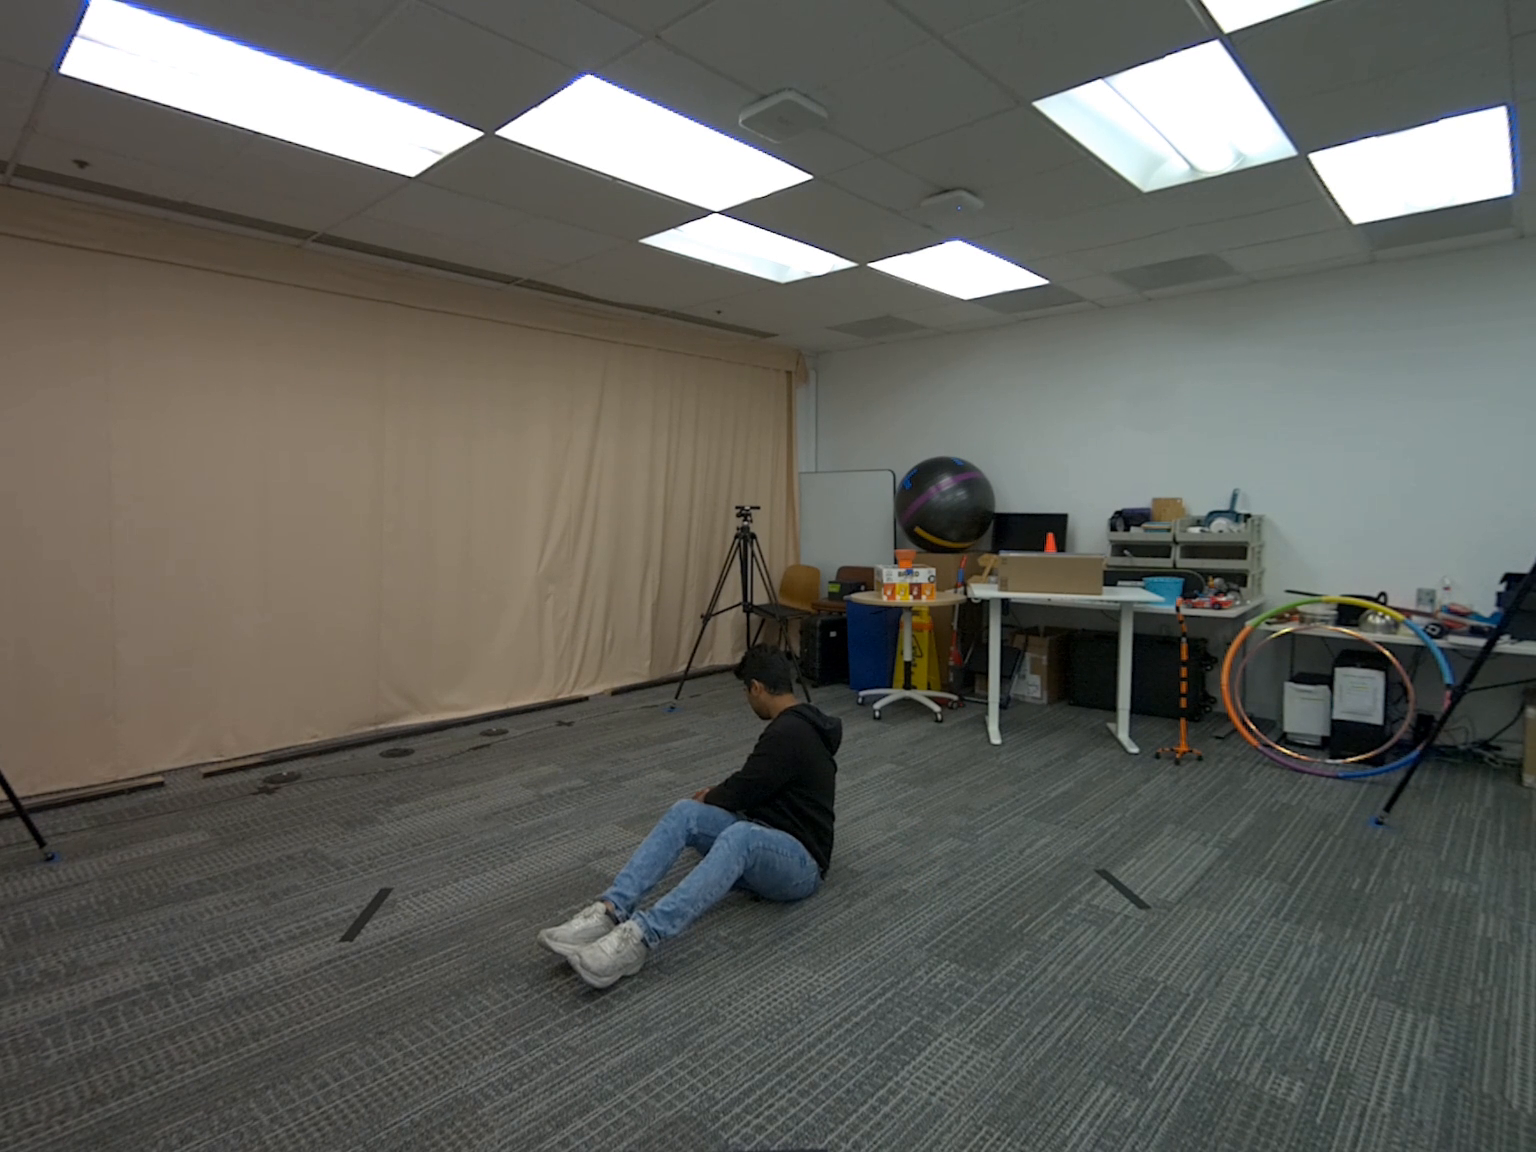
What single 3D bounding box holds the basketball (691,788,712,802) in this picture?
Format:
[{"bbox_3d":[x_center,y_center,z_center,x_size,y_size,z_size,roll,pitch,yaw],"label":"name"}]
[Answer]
[{"bbox_3d":[-0.209,0.991,3.465,0.236,0.235,0.237,0,4,-2],"label":"basketball"}]
